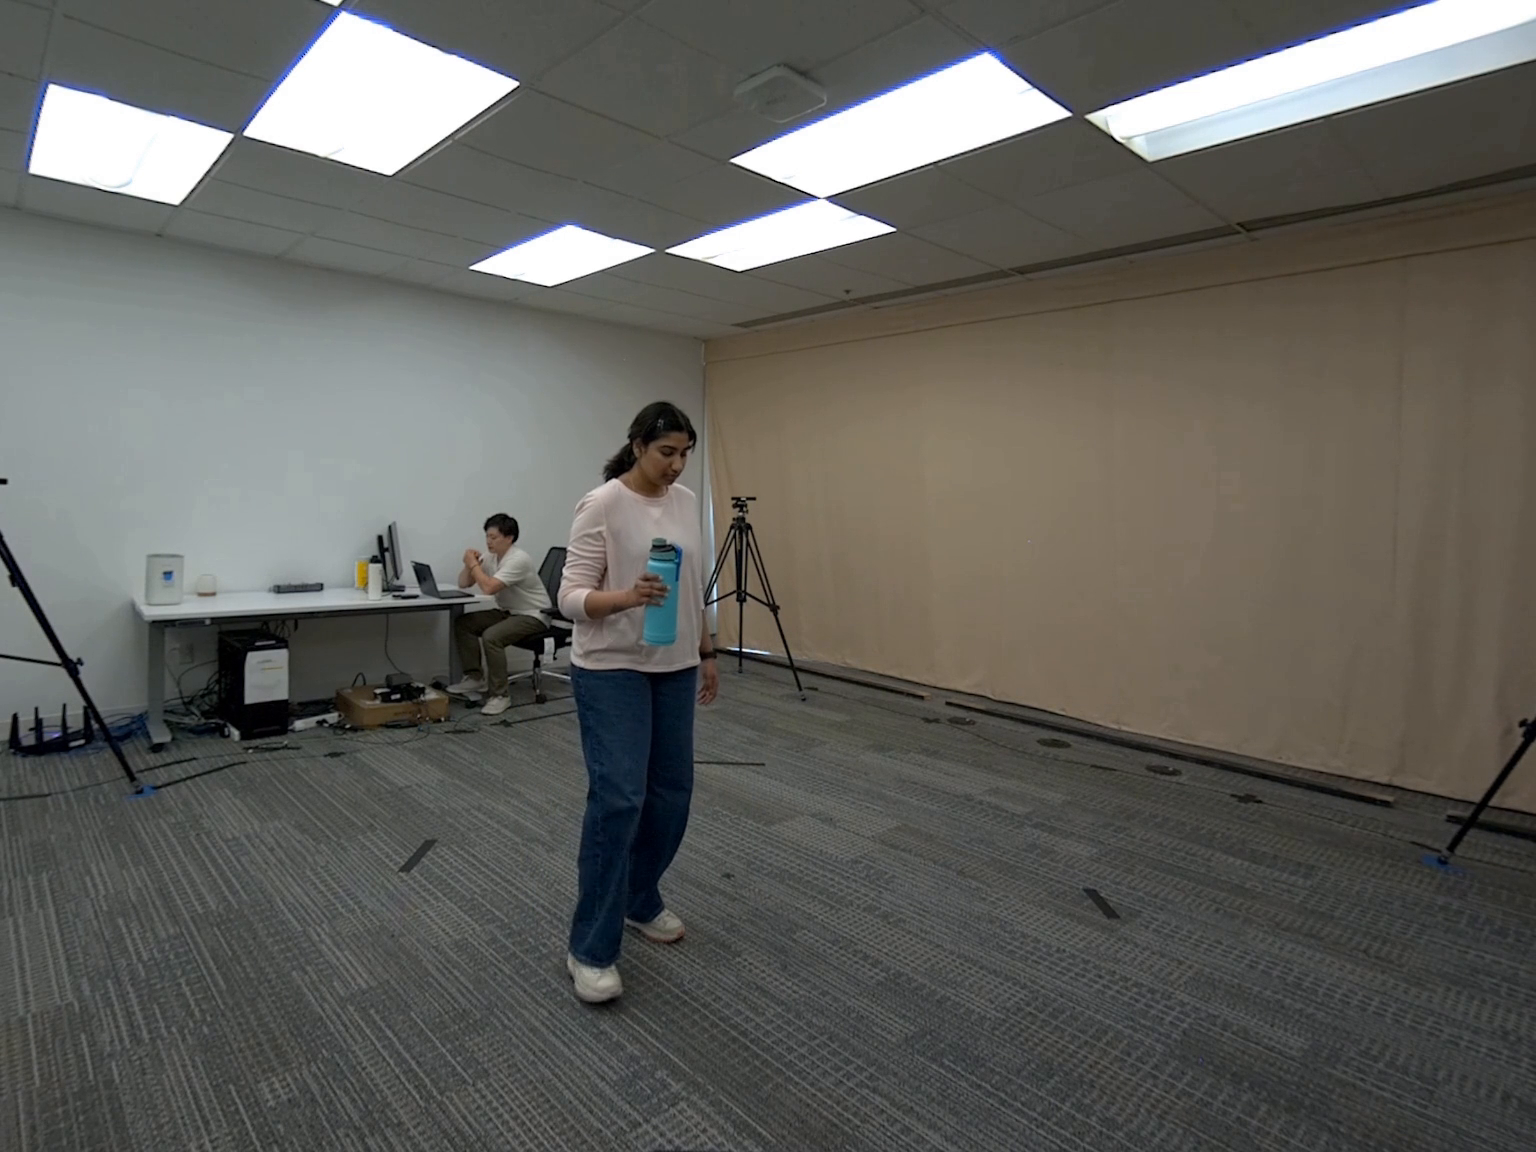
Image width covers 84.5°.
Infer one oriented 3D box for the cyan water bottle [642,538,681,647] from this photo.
[{"bbox_3d":[-0.296,0.043,2.267,0.092,0.282,0.093,6,8,-2],"label":"cyan water bottle"}]
